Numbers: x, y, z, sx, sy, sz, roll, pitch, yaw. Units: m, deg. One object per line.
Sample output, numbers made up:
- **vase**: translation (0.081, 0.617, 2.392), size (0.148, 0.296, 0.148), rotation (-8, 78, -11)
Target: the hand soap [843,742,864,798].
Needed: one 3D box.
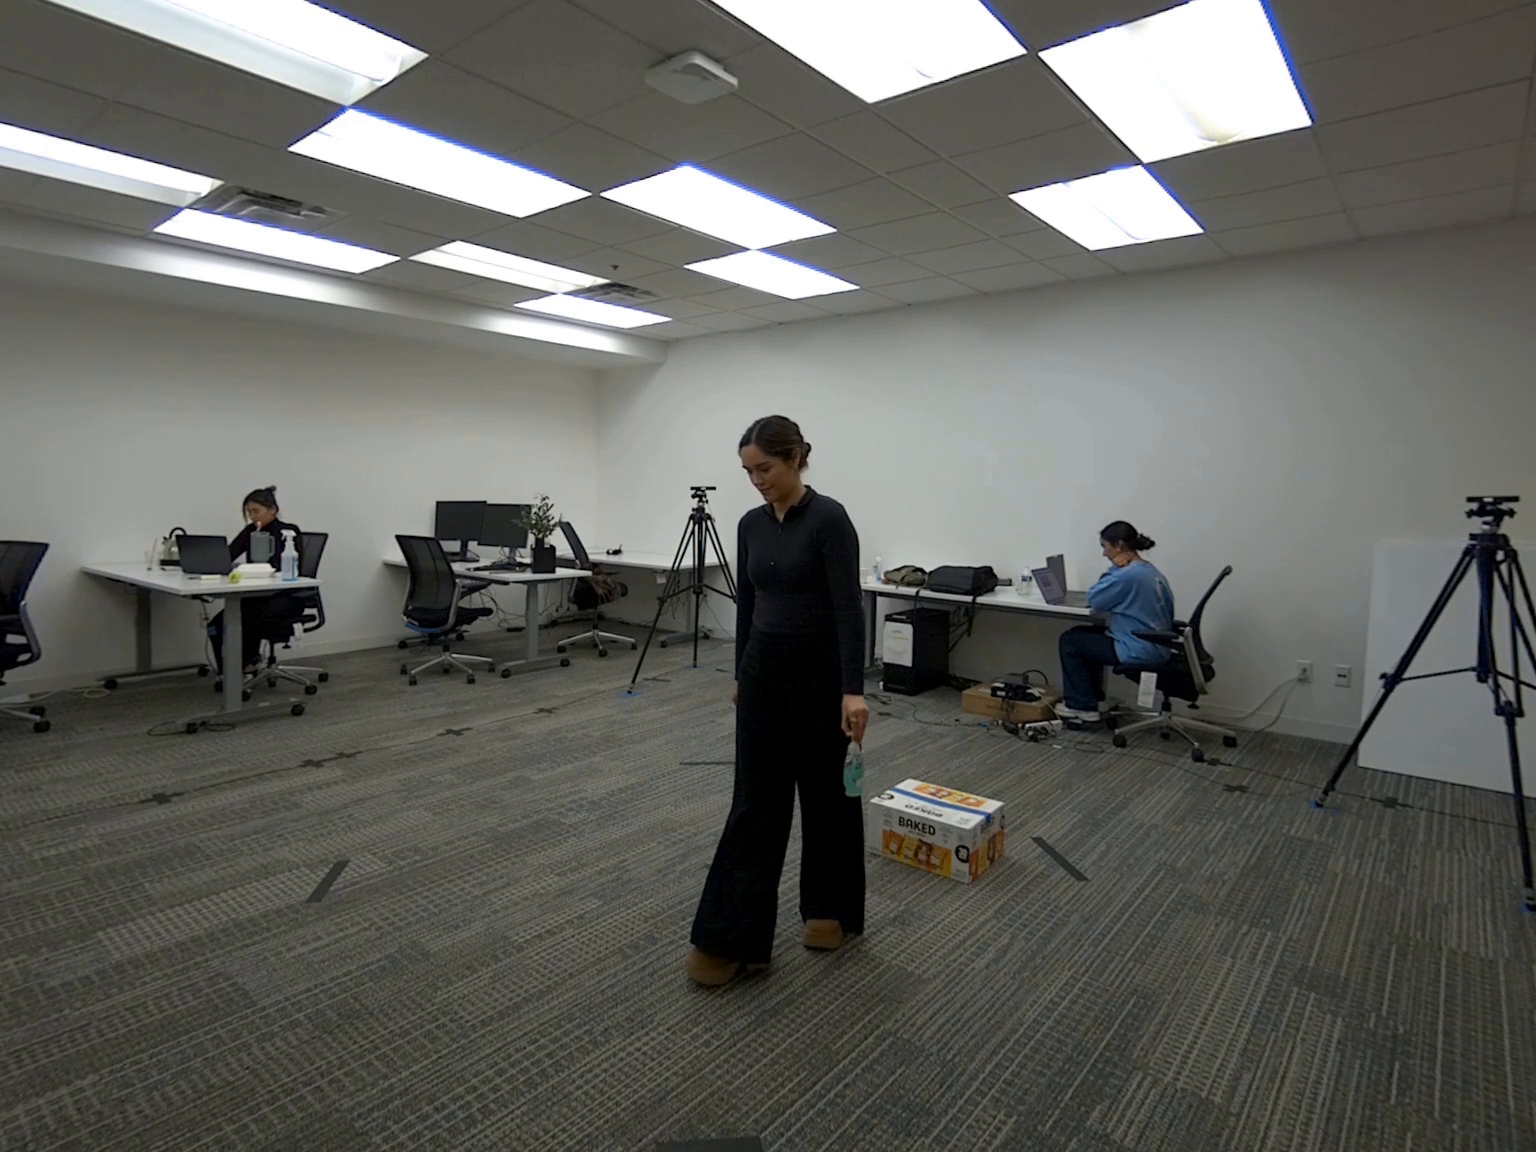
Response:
- **hand soap**: translation (0.224, 0.499, 2.284), size (0.045, 0.167, 0.082), rotation (1, 5, 33)
